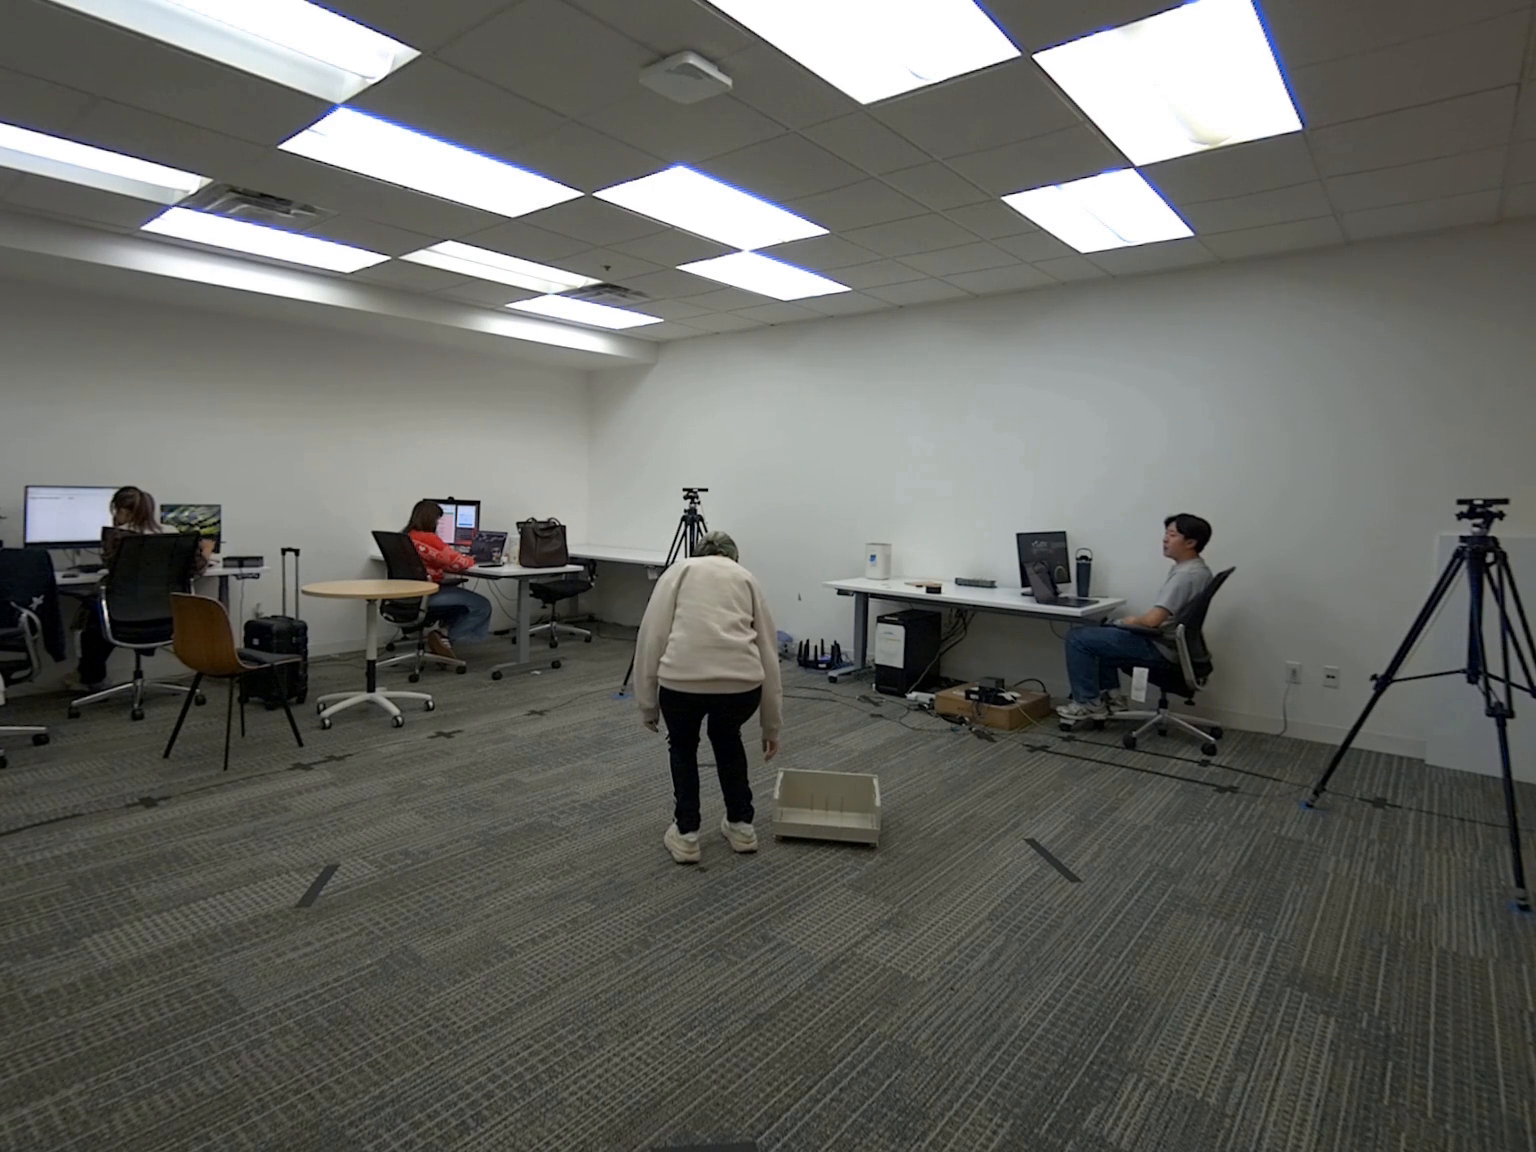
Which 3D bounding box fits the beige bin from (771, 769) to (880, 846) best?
[{"bbox_3d":[0.237,0.955,3.507,0.426,0.188,0.376,2,4,6],"label":"beige bin"}]
